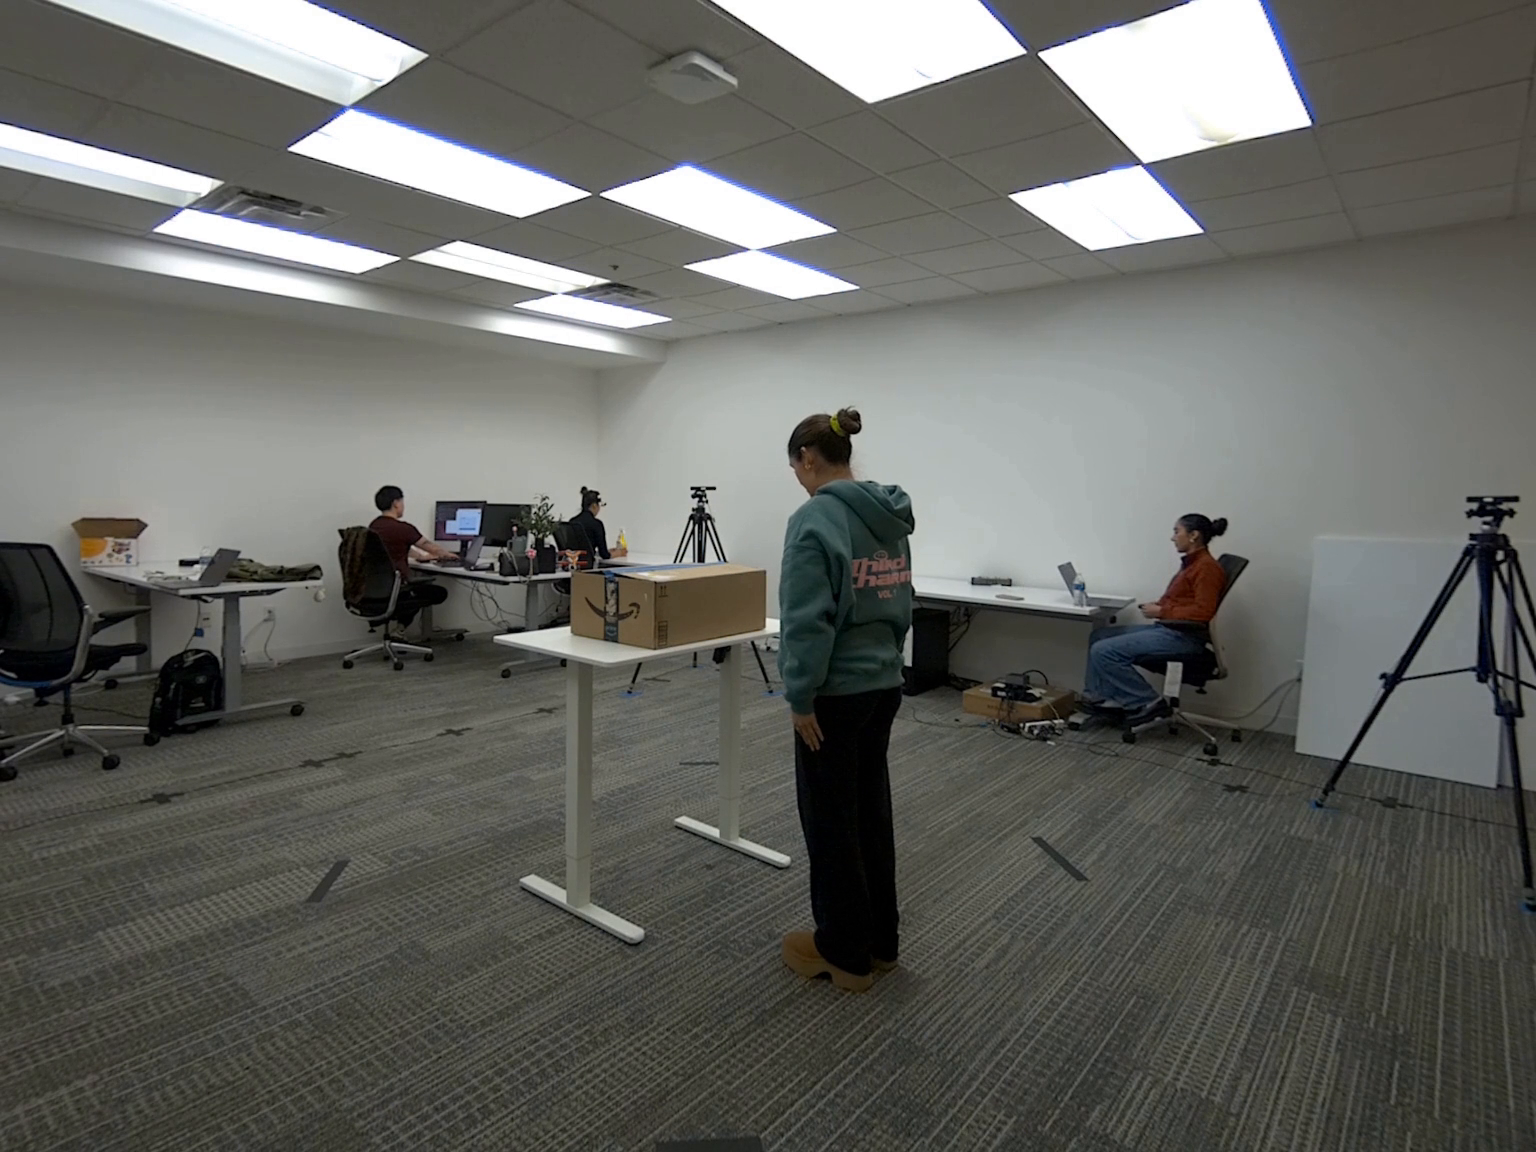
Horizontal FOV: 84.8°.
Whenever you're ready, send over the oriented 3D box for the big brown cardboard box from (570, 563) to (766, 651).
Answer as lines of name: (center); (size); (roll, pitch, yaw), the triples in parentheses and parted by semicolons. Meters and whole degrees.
big brown cardboard box: (-0.352, 0.087, 2.969); (0.431, 0.232, 0.571); (4, 6, 39)
